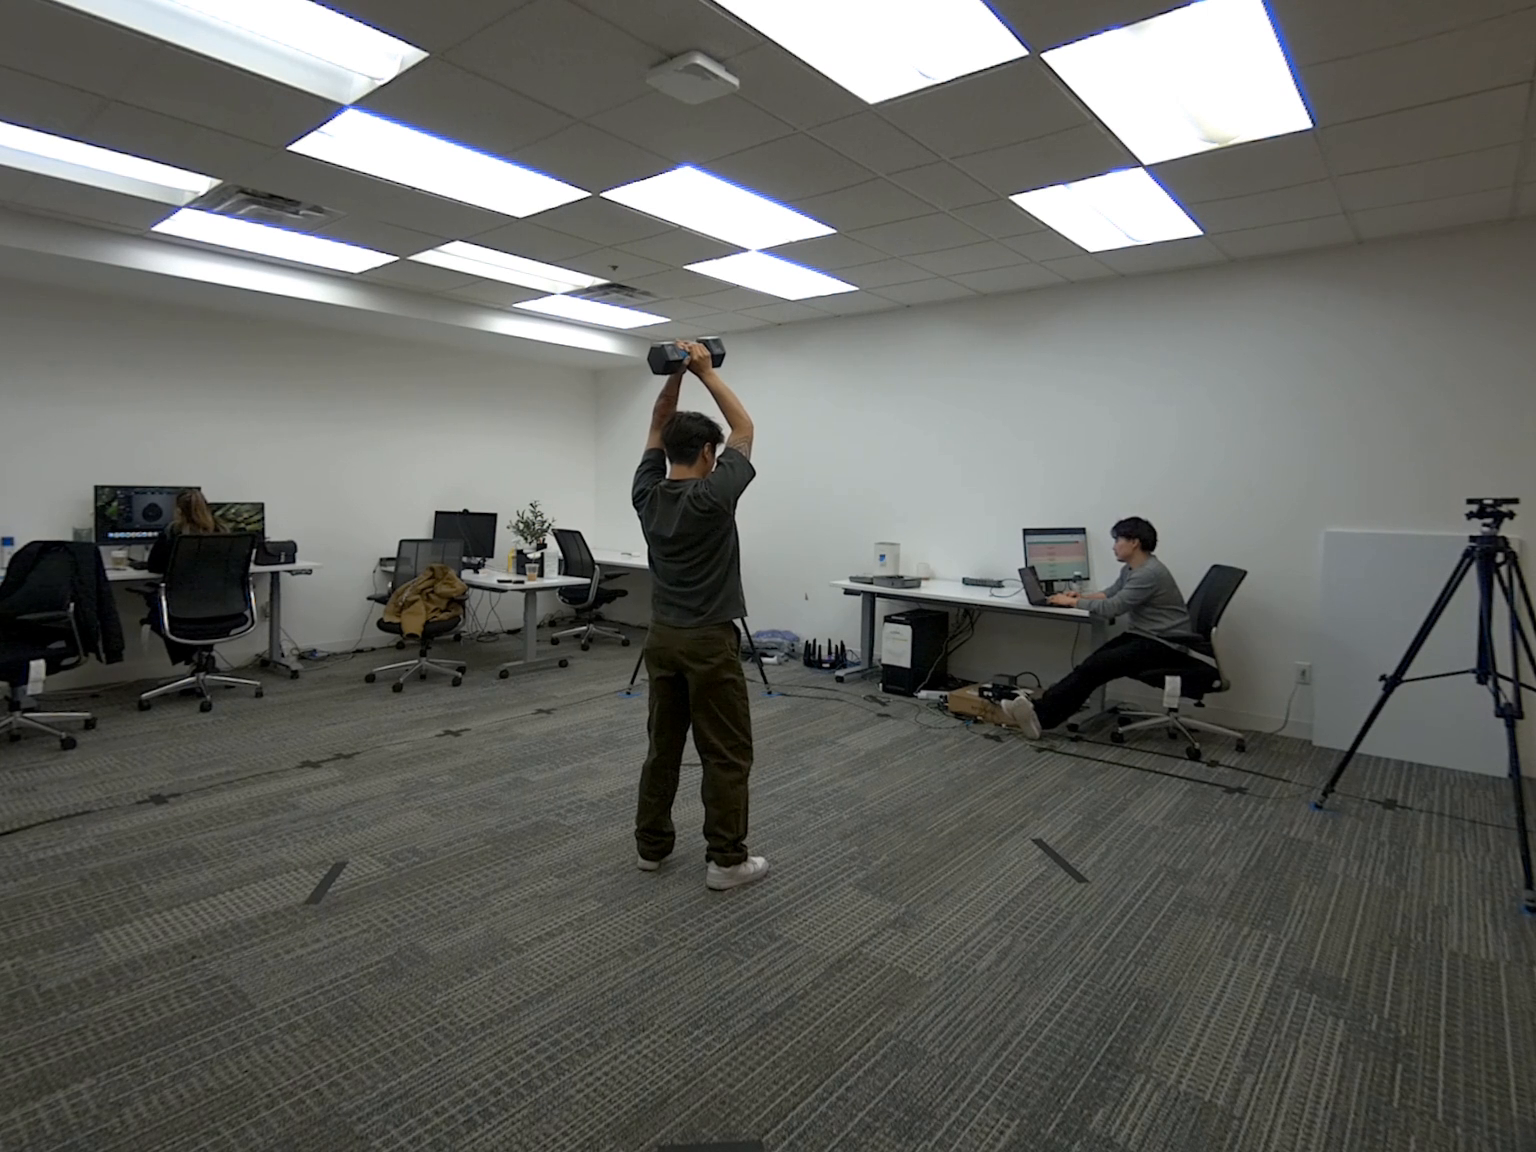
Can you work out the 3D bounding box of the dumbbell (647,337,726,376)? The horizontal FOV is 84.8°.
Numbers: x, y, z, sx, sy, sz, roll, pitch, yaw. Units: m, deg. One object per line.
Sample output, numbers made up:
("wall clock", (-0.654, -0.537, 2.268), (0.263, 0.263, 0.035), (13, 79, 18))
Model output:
("dumbbell", (-0.295, -0.784, 3.017), (0.288, 0.124, 0.110), (-22, -5, -44))
